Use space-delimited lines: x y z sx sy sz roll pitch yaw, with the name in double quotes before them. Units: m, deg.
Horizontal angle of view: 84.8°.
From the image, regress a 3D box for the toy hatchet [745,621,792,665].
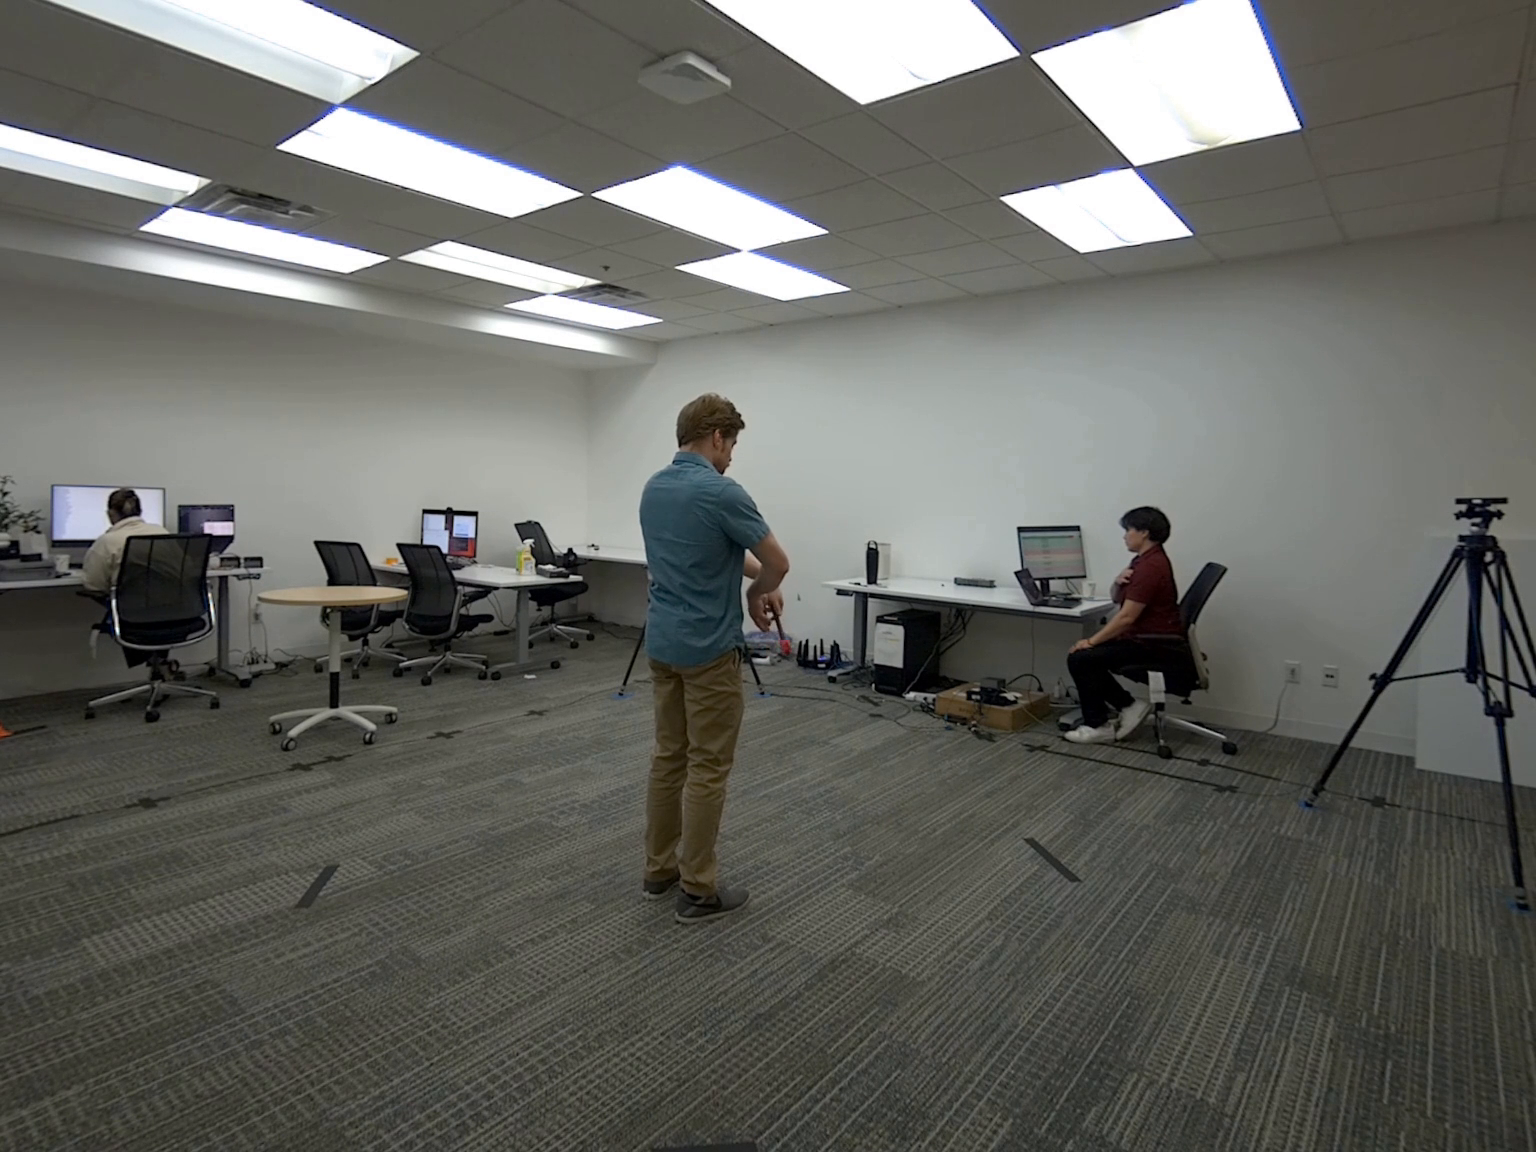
"toy hatchet" 0.009 0.178 3.080 0.029 0.126 0.281 -26 51 -11
